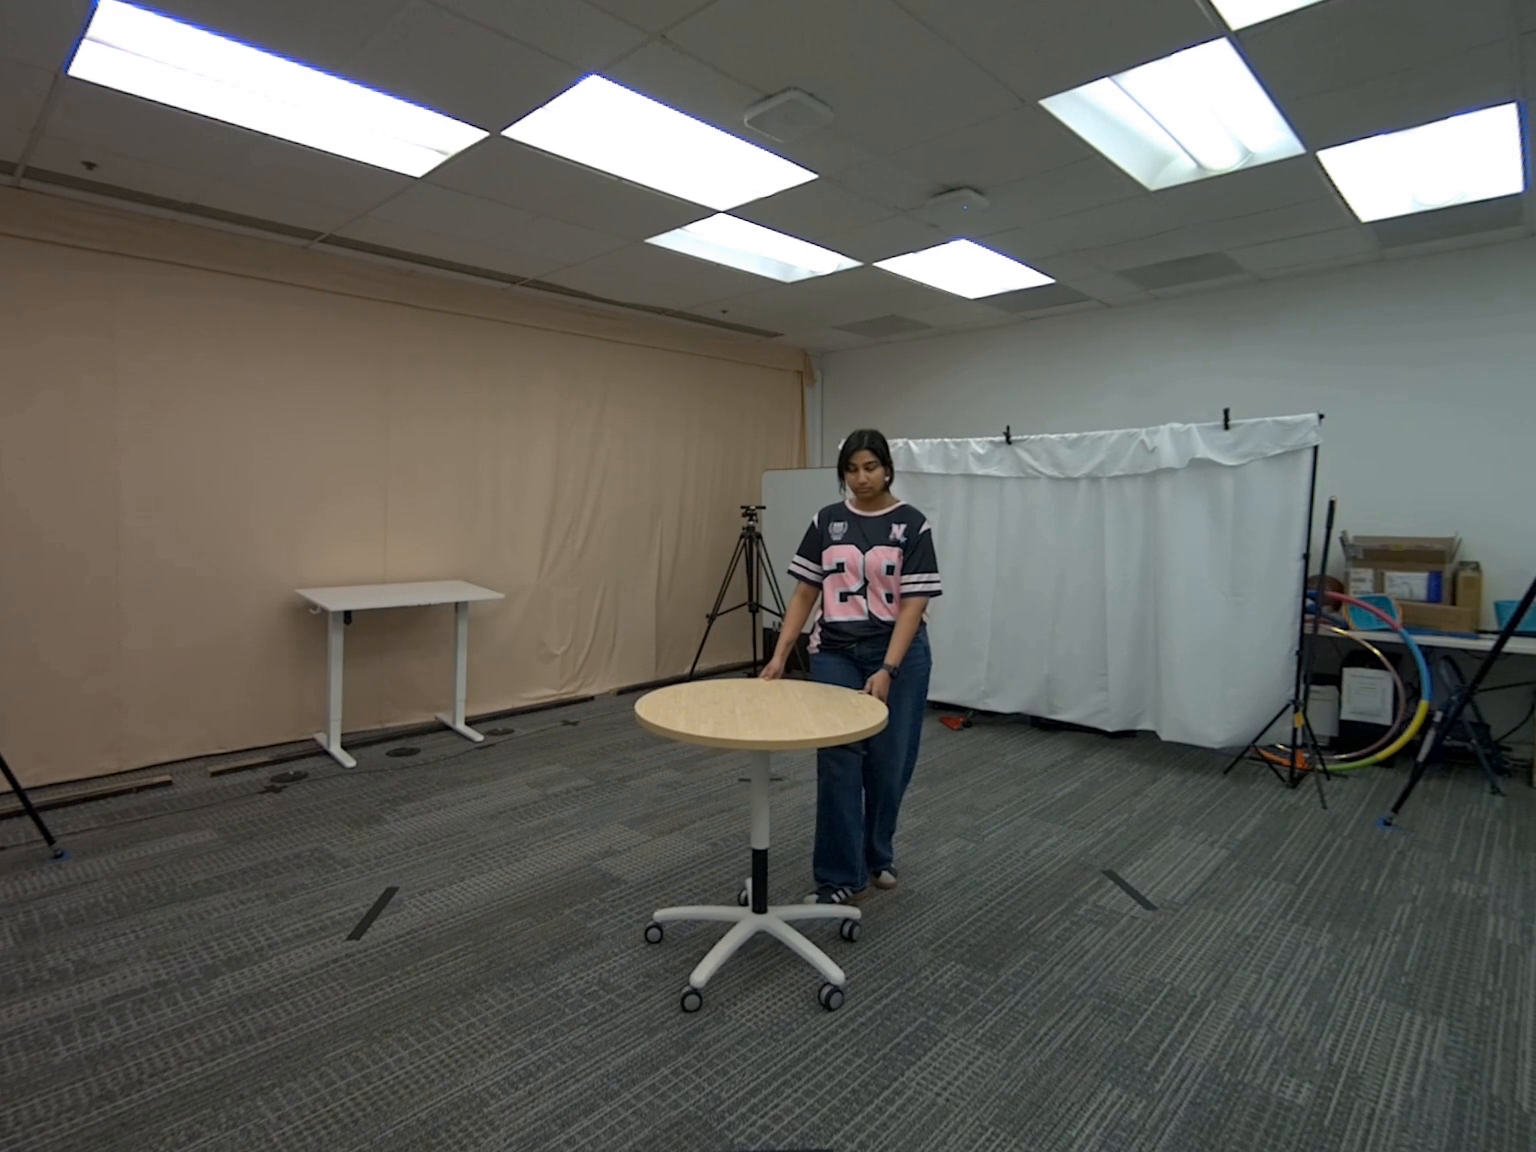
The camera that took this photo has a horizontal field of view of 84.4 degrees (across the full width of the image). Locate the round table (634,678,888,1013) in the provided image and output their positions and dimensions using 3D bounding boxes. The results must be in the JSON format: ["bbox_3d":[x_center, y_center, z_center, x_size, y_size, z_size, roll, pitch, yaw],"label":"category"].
[{"bbox_3d":[-0.031,0.789,2.589,0.763,0.792,0.767,0,4,-2],"label":"round table"}]
